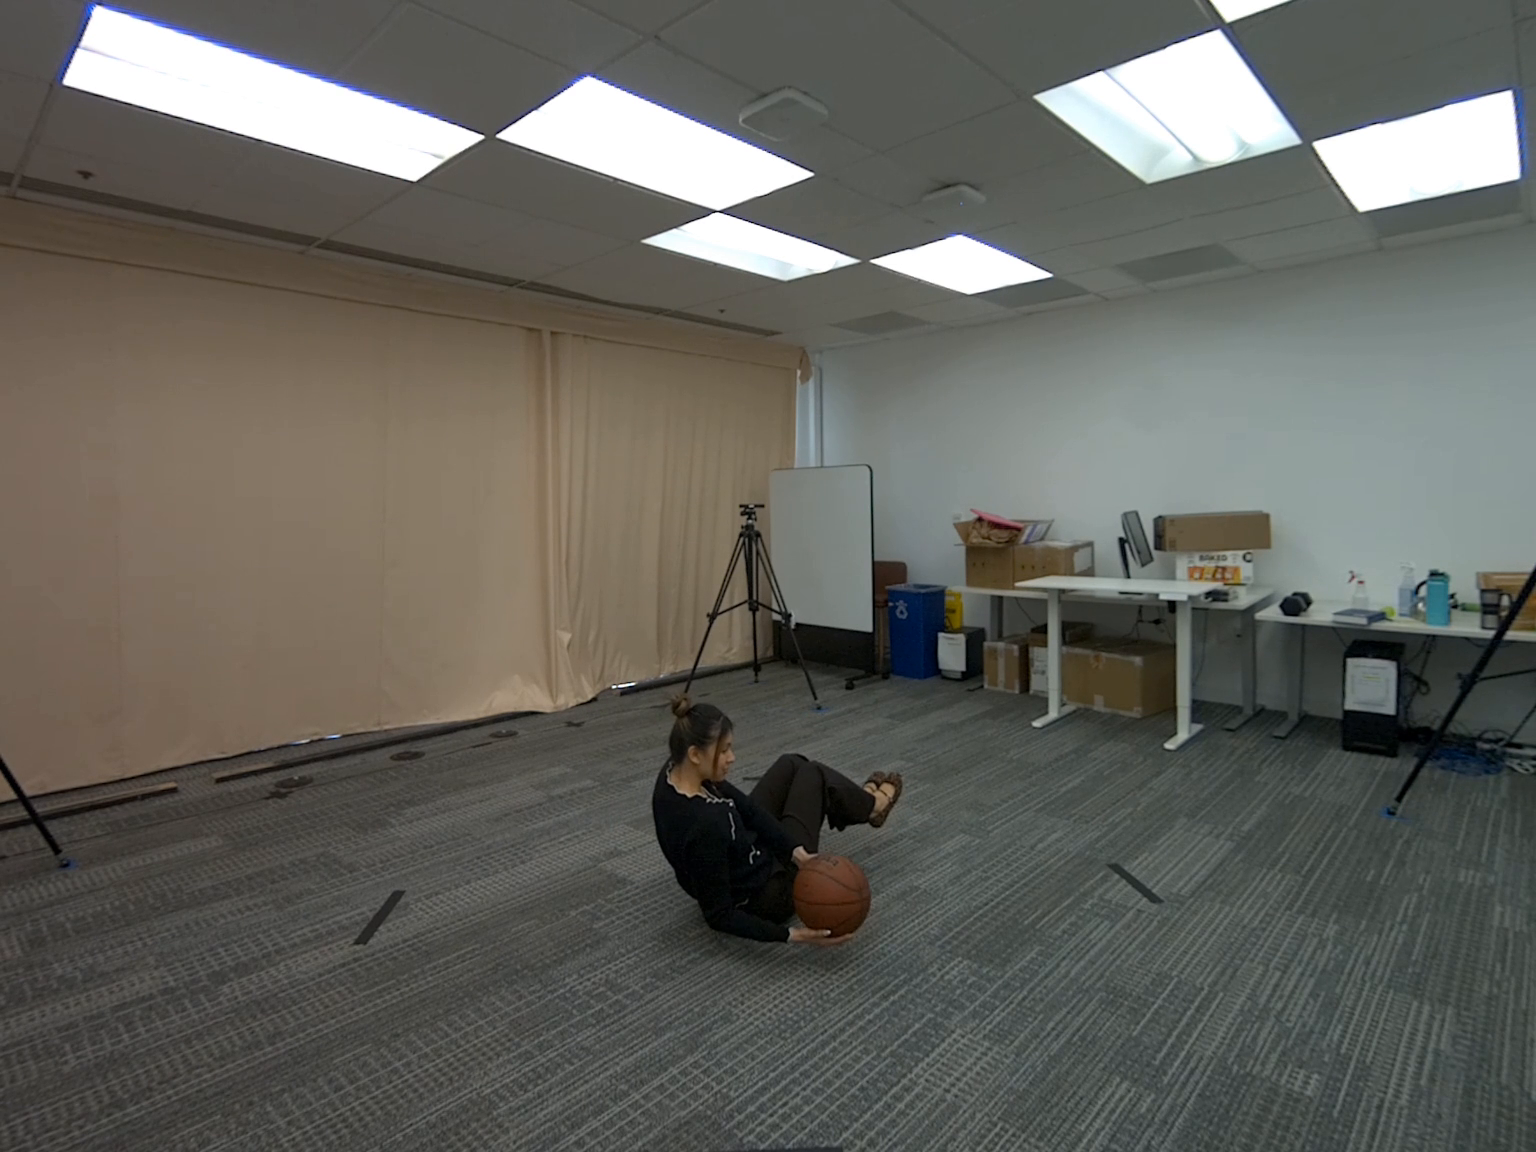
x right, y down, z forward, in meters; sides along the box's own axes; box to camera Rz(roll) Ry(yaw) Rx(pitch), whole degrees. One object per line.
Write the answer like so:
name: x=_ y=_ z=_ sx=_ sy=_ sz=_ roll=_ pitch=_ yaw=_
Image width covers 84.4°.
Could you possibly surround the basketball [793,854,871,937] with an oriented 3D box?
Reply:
basketball: x=0.199 y=0.937 z=2.544 sx=0.236 sy=0.235 sz=0.237 roll=-1 pitch=4 yaw=-2
